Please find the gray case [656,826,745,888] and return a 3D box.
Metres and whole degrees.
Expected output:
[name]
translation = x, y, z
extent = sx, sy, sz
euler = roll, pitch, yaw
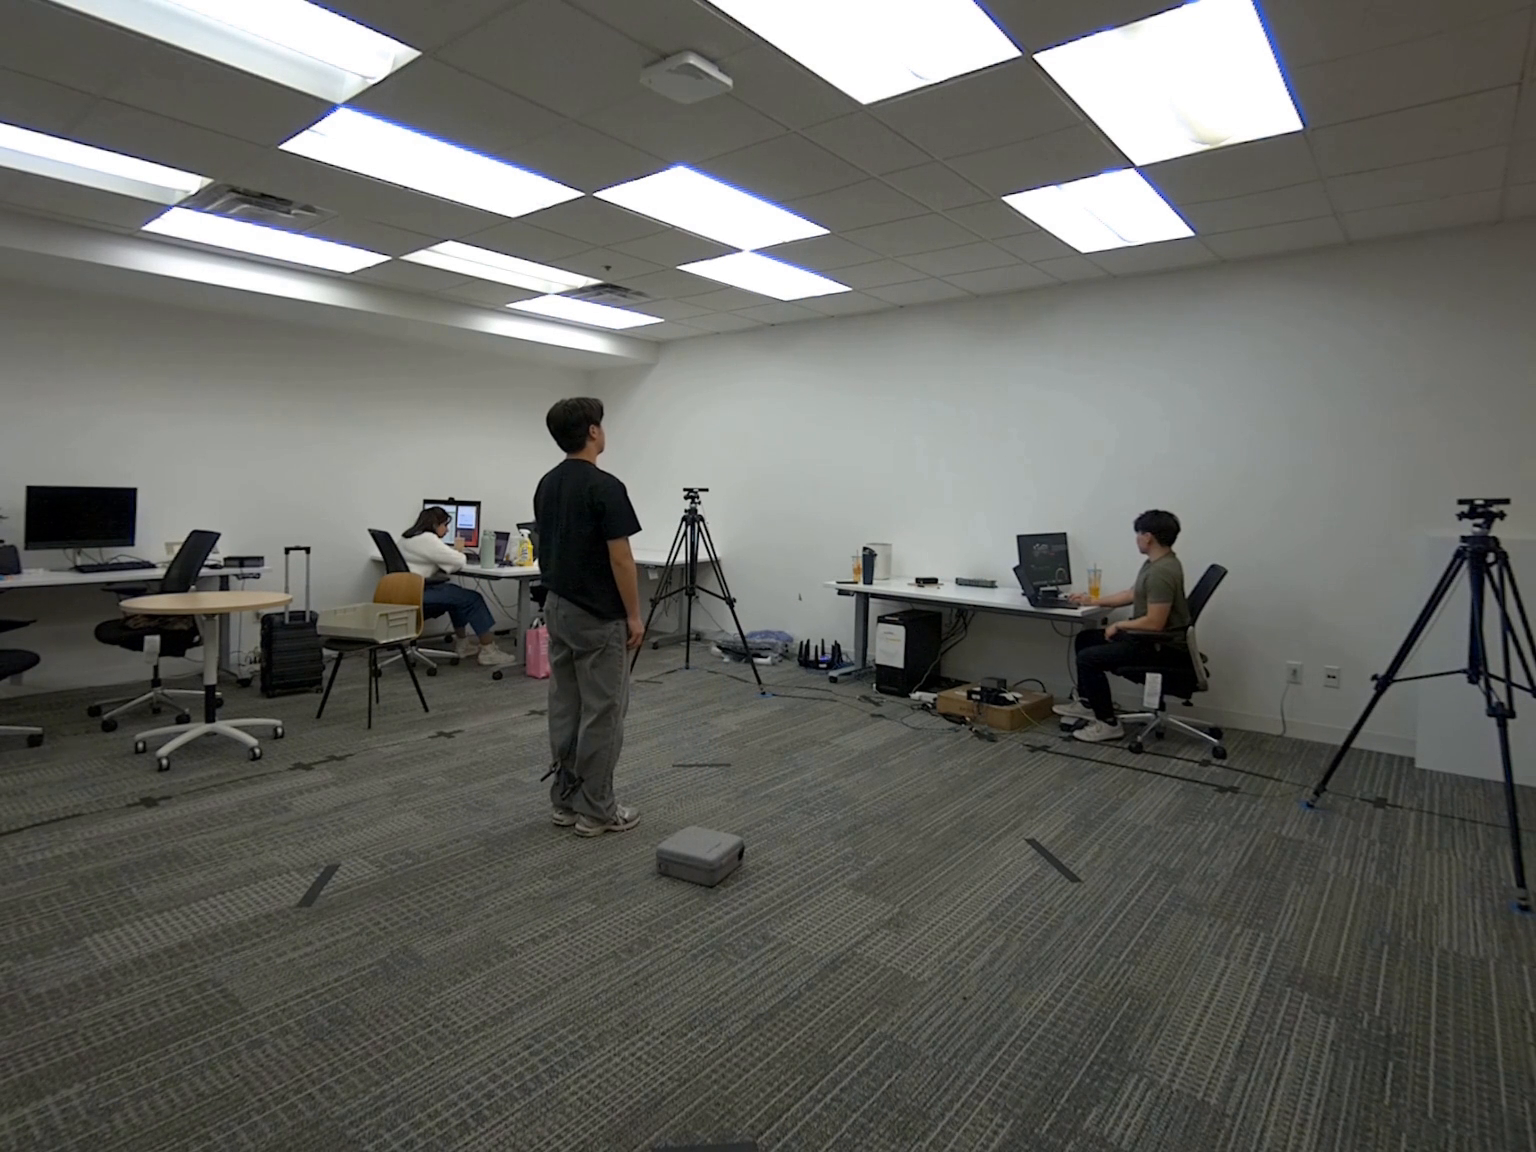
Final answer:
[gray case]
translation = -0.267, 1.013, 3.115
extent = 0.295, 0.103, 0.257
euler = 3, 5, 28
